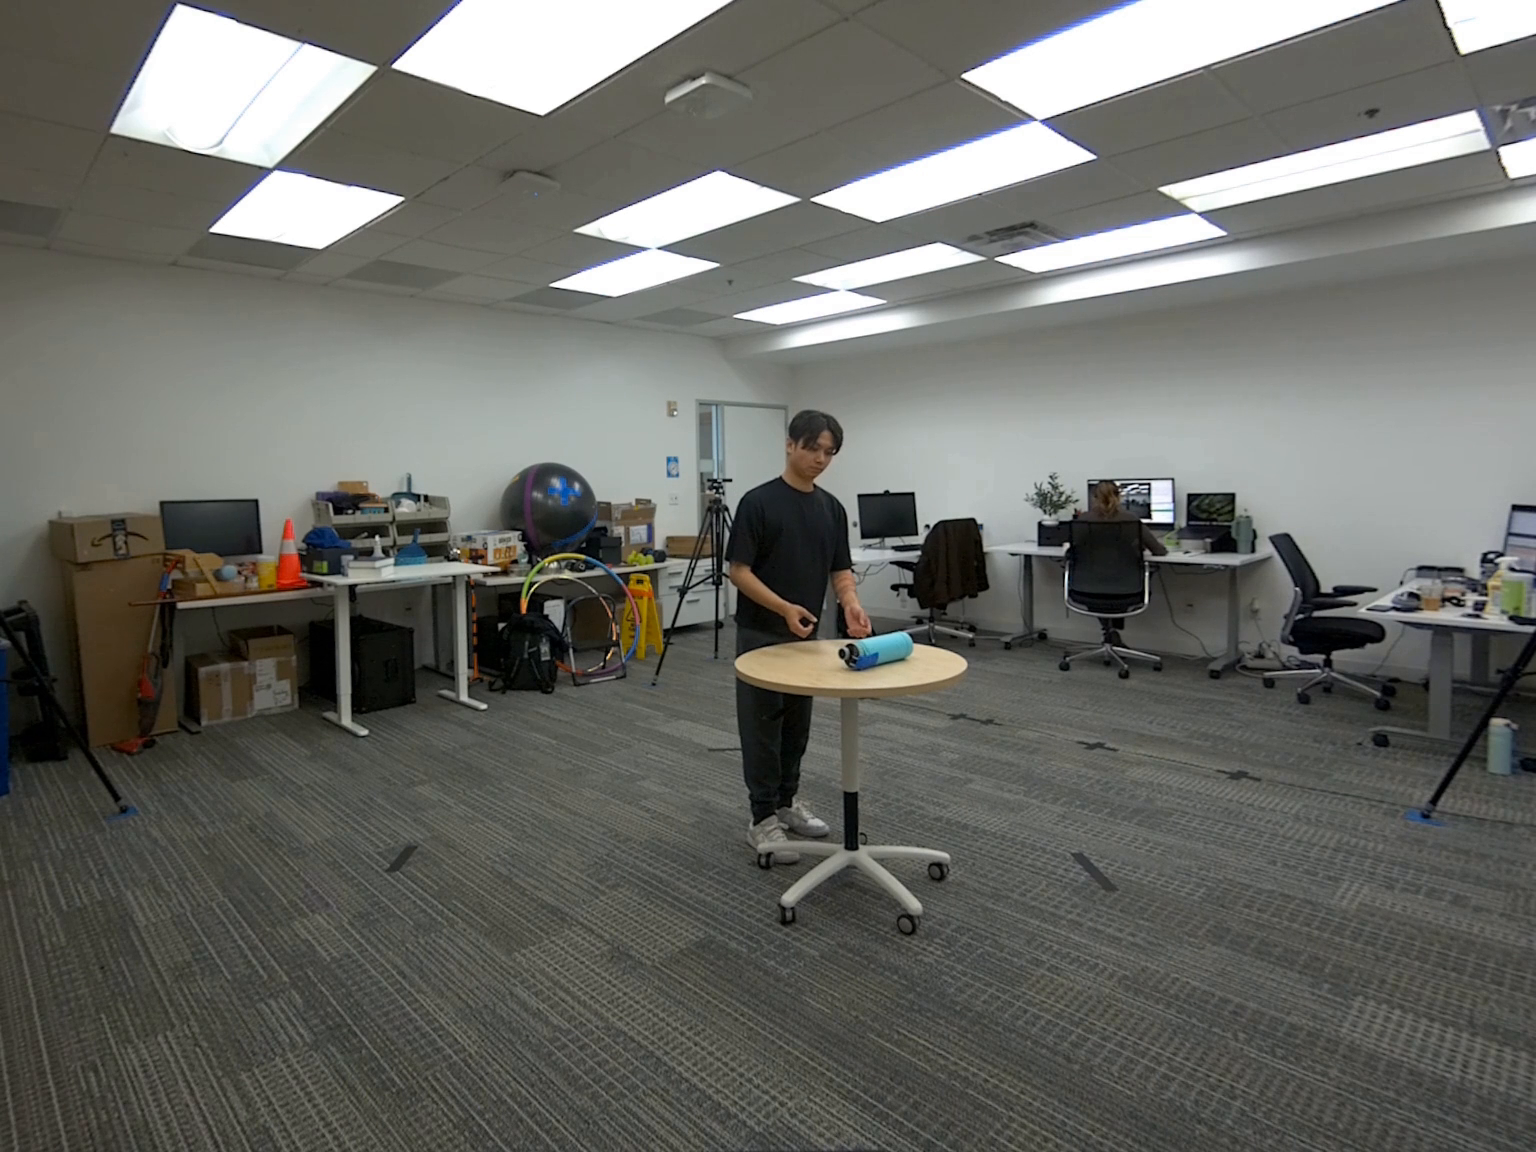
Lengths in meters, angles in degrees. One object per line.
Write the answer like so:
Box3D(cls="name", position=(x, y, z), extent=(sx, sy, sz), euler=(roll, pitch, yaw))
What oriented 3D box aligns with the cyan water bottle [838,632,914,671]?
Box3D(cls="cyan water bottle", position=(0.347, 0.244, 2.797), extent=(0.276, 0.092, 0.095), euler=(-6, 7, -40))
